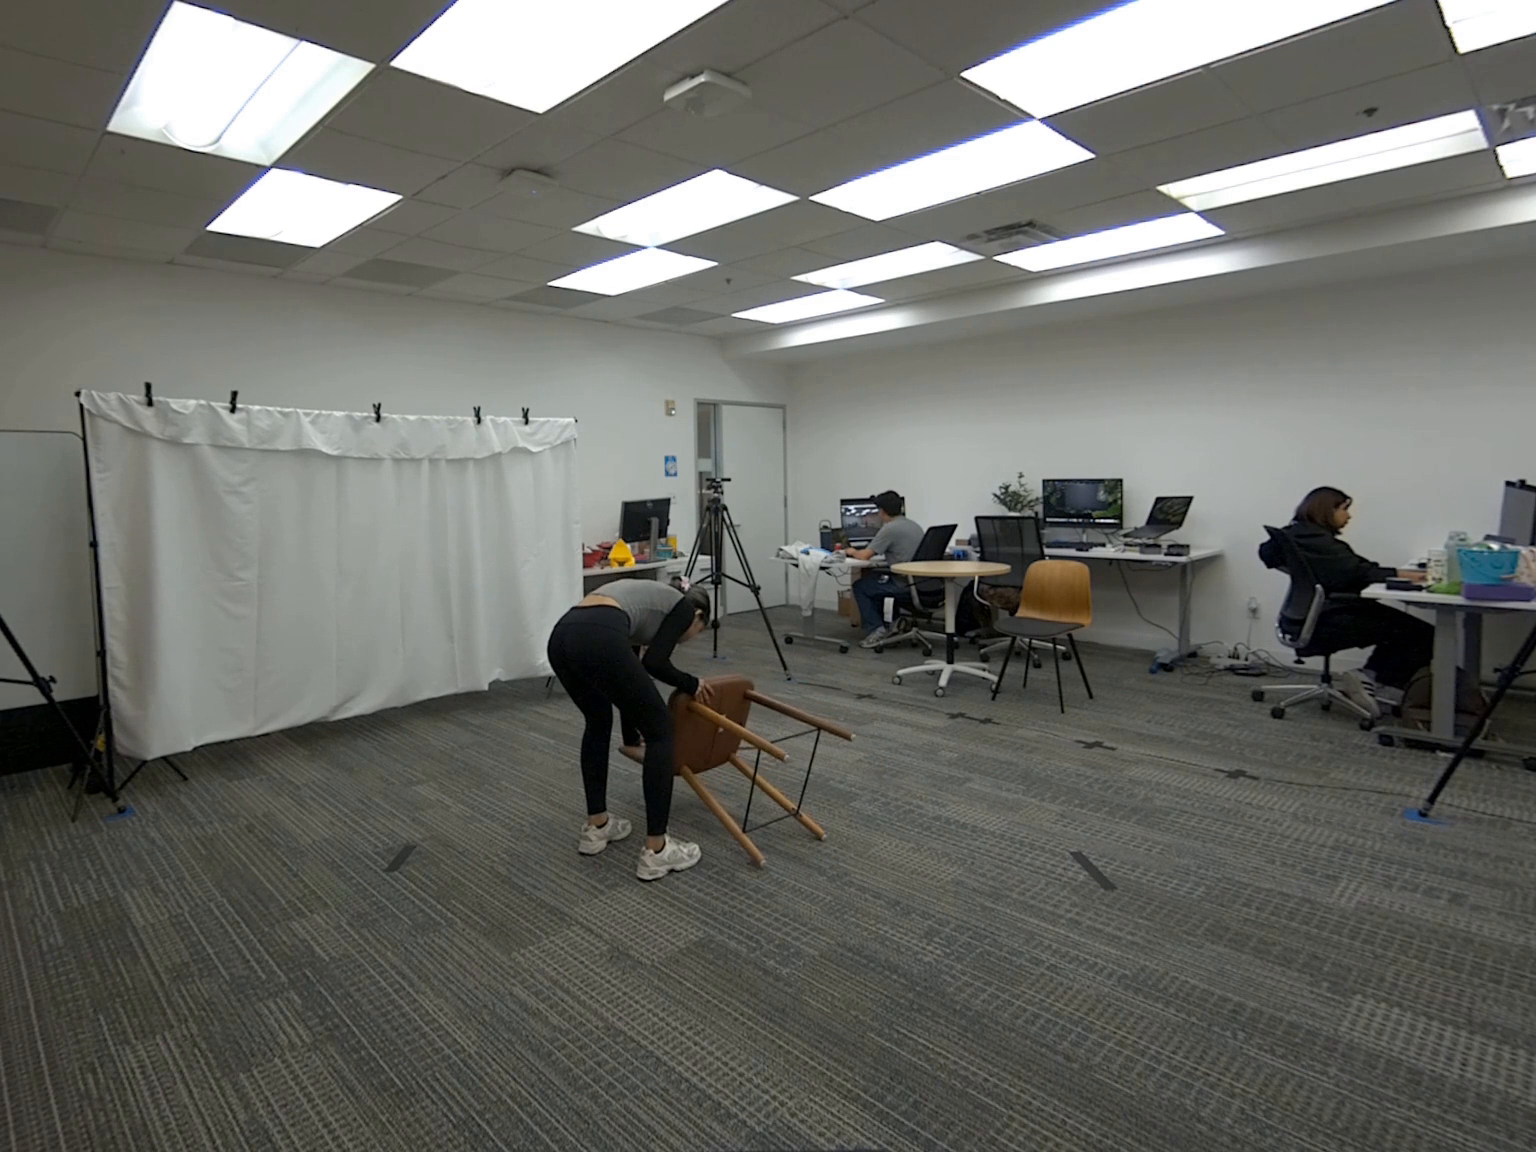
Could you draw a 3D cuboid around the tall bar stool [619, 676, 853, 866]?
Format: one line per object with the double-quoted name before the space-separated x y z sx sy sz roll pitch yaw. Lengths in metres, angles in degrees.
"tall bar stool" -0.161 0.676 3.416 0.444 0.463 0.923 -3 19 -44
